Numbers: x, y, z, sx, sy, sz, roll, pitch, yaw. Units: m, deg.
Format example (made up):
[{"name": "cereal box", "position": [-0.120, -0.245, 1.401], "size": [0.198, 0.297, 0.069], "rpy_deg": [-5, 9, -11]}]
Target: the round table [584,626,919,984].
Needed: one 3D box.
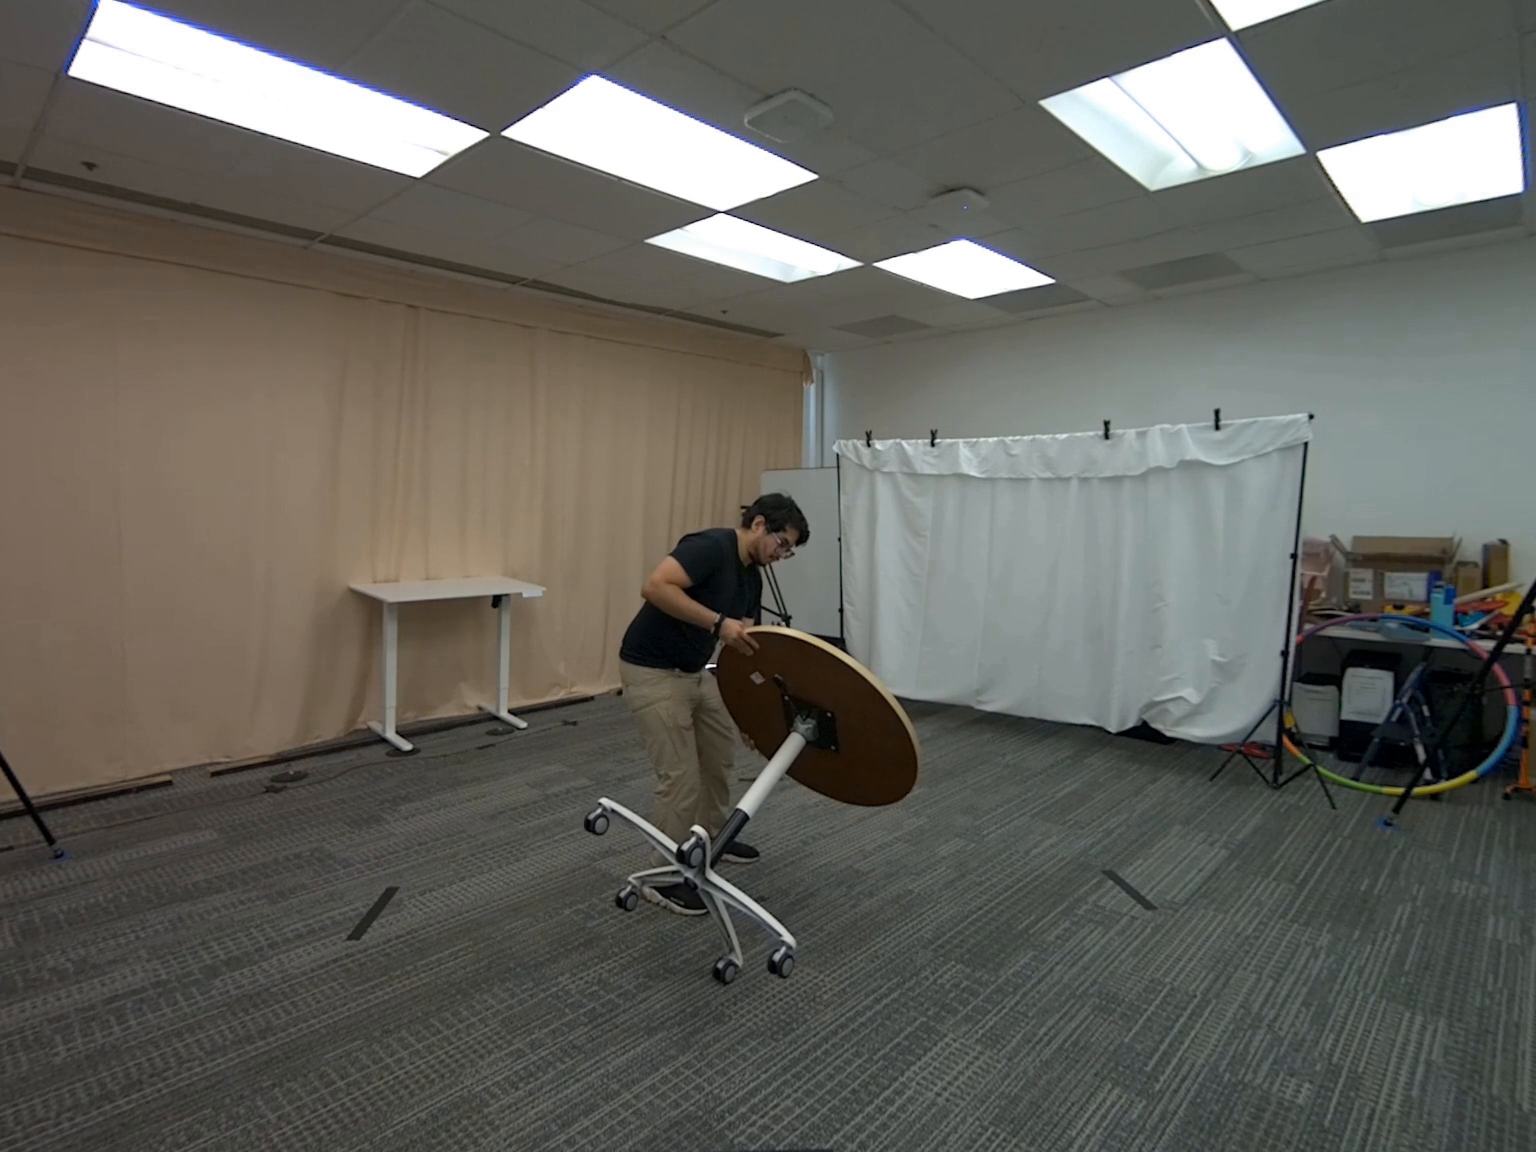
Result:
[{"name": "round table", "position": [-0.053, 0.686, 2.567], "size": [0.811, 0.767, 0.779], "rpy_deg": [3, 36, 40]}]
